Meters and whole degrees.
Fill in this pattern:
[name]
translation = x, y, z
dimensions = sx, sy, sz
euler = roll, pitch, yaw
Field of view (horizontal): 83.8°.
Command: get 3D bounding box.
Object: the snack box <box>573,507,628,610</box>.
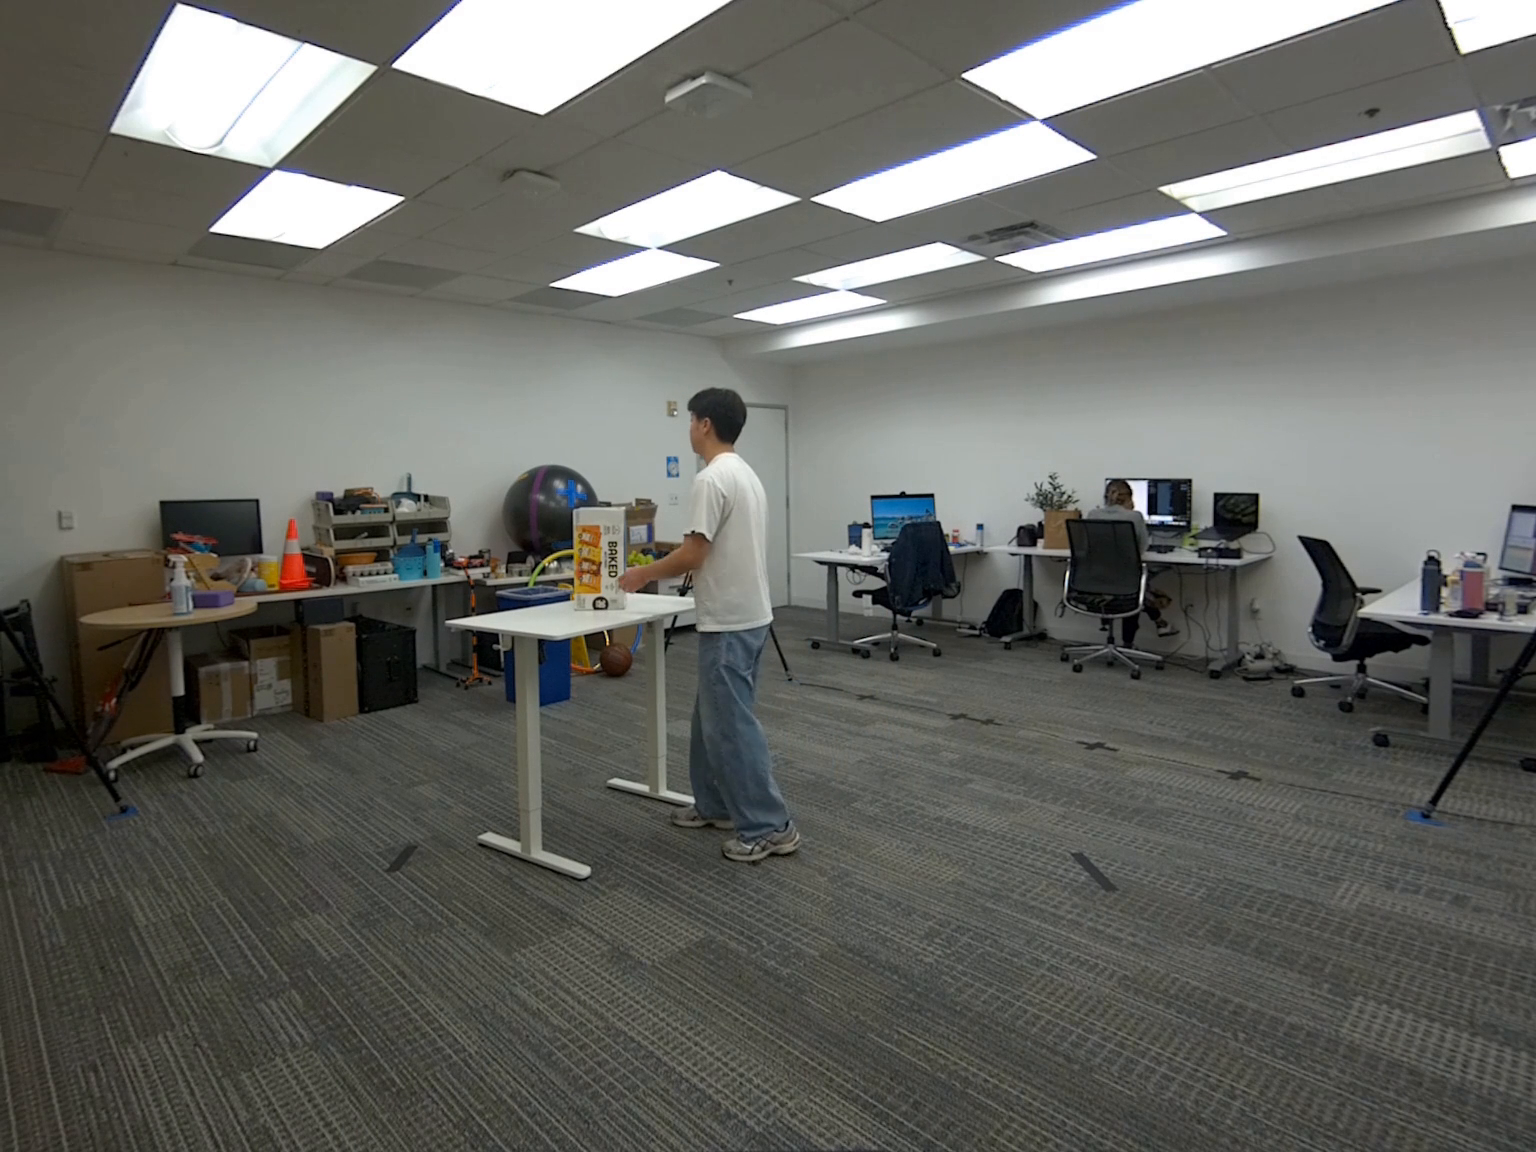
[snack box]
translation = -0.699, -0.085, 3.596
dimensions = 0.204, 0.403, 0.344
euler = -1, 6, -7
